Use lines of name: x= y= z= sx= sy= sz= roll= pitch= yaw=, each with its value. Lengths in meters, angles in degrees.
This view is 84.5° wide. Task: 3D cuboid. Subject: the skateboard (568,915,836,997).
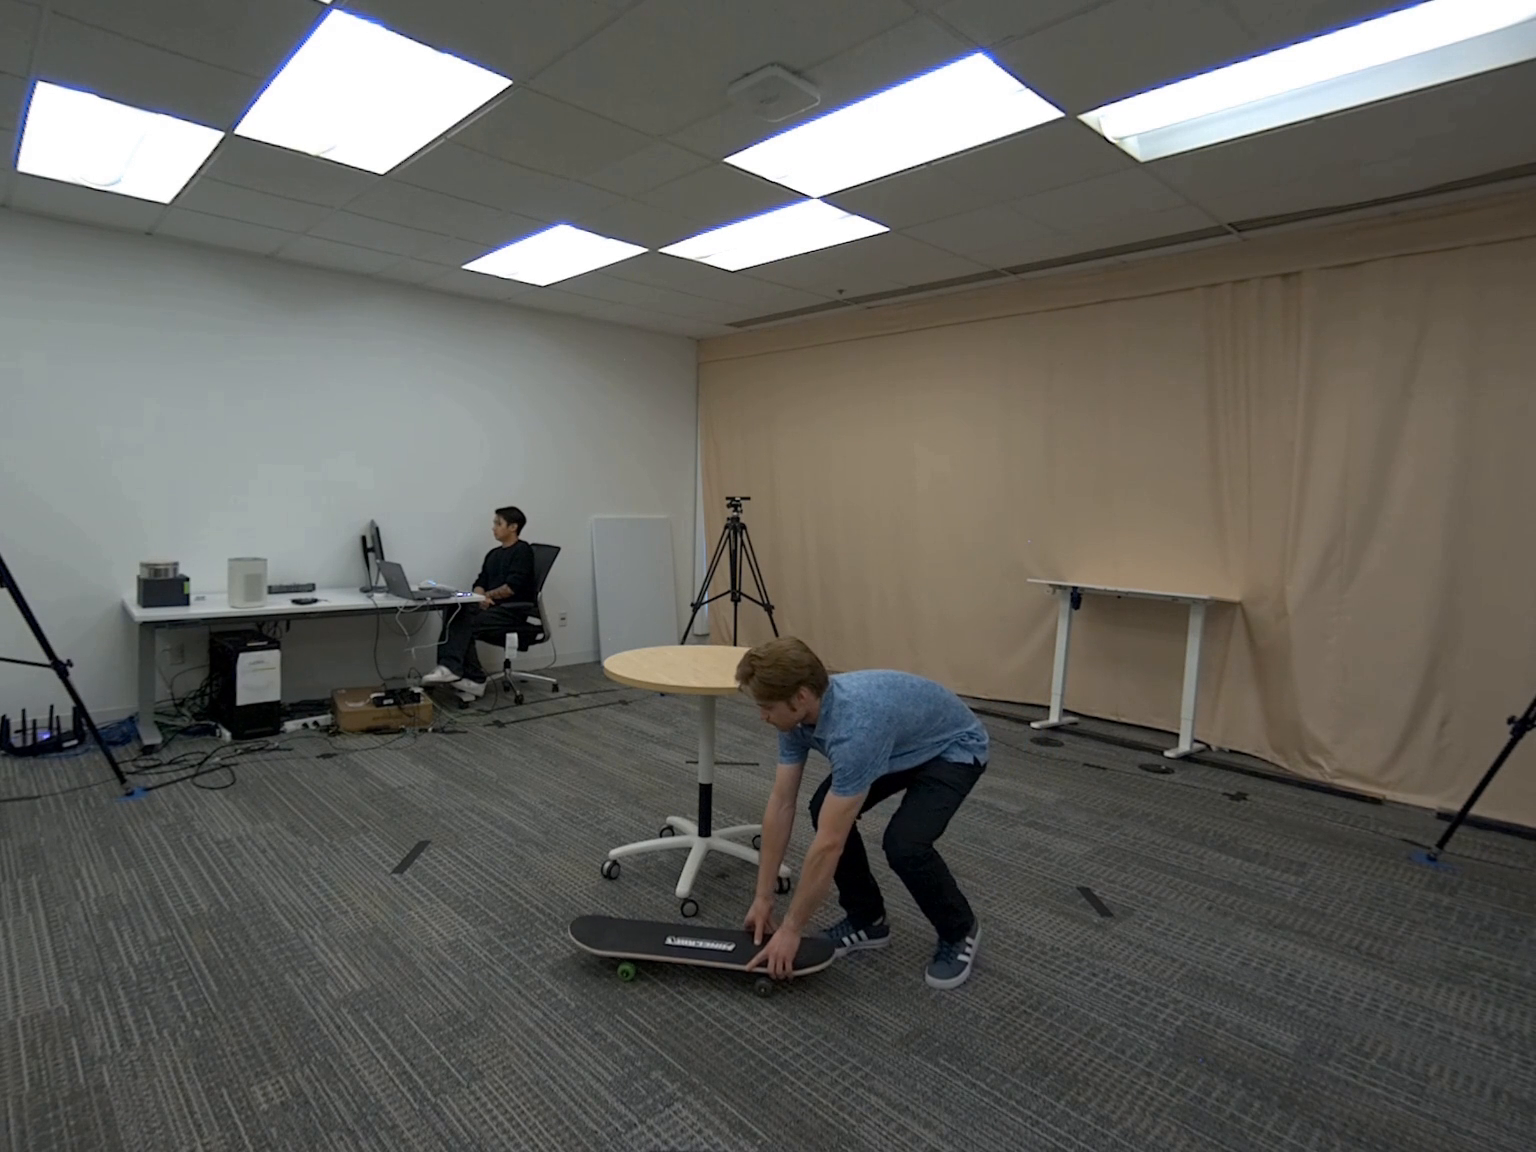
skateboard: x=-0.204 y=1.104 z=2.468 sx=0.792 sy=0.110 sz=0.192 roll=3 pitch=5 yaw=10
